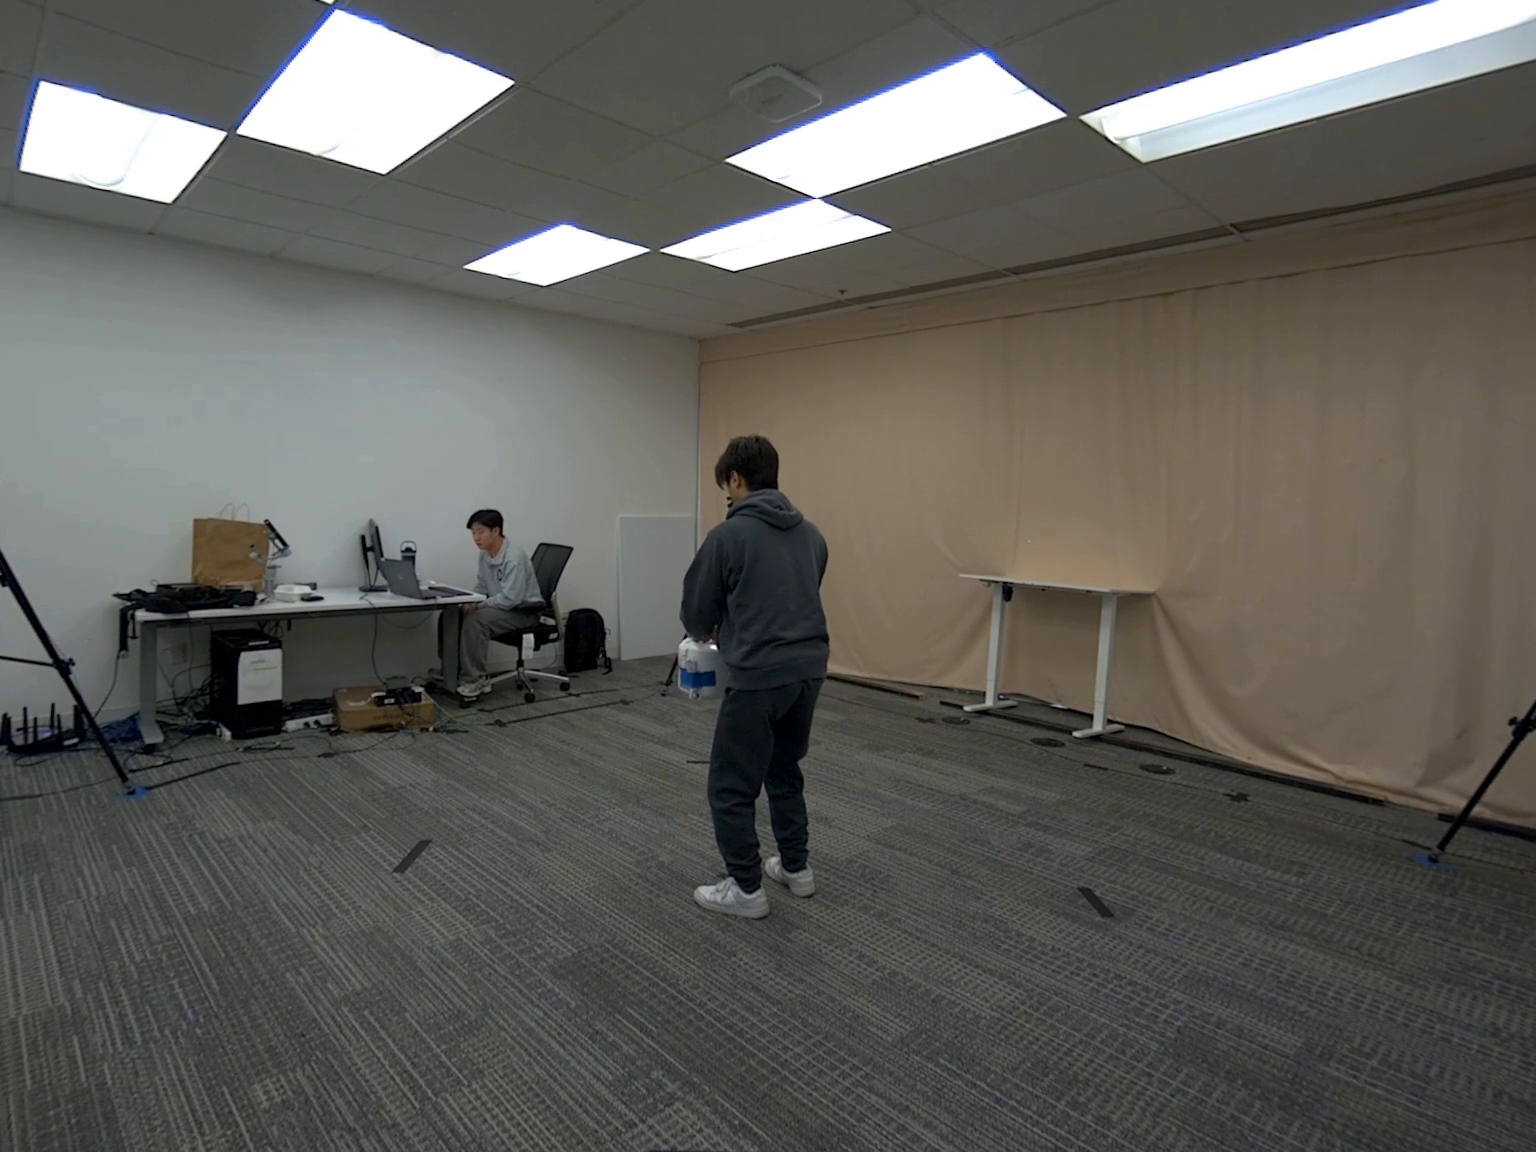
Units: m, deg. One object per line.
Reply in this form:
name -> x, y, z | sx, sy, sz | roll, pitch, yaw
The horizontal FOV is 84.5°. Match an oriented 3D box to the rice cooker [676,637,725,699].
rice cooker -> -0.237, 0.333, 3.161 | 0.217, 0.231, 0.222 | 2, 9, -24
